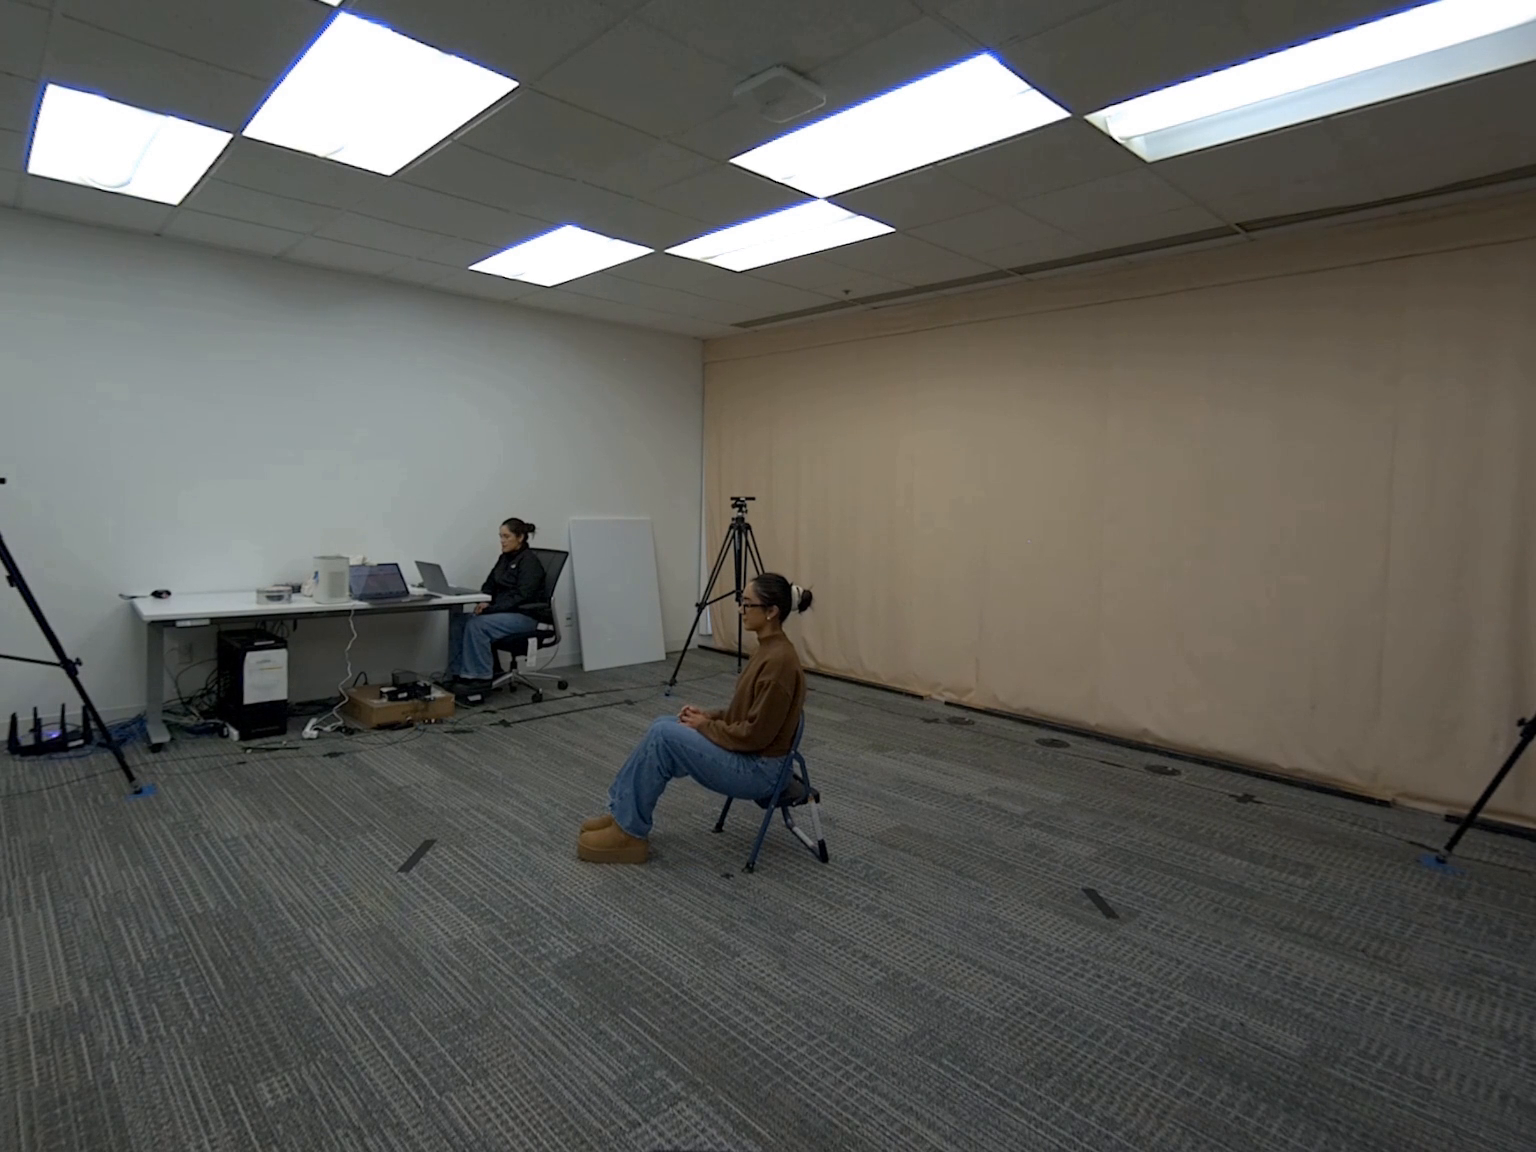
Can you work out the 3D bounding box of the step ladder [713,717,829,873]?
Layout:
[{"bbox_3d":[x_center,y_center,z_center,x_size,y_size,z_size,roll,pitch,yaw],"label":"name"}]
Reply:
[{"bbox_3d":[0.007,0.791,3.364,0.344,0.604,0.438,0,4,-20],"label":"step ladder"}]
